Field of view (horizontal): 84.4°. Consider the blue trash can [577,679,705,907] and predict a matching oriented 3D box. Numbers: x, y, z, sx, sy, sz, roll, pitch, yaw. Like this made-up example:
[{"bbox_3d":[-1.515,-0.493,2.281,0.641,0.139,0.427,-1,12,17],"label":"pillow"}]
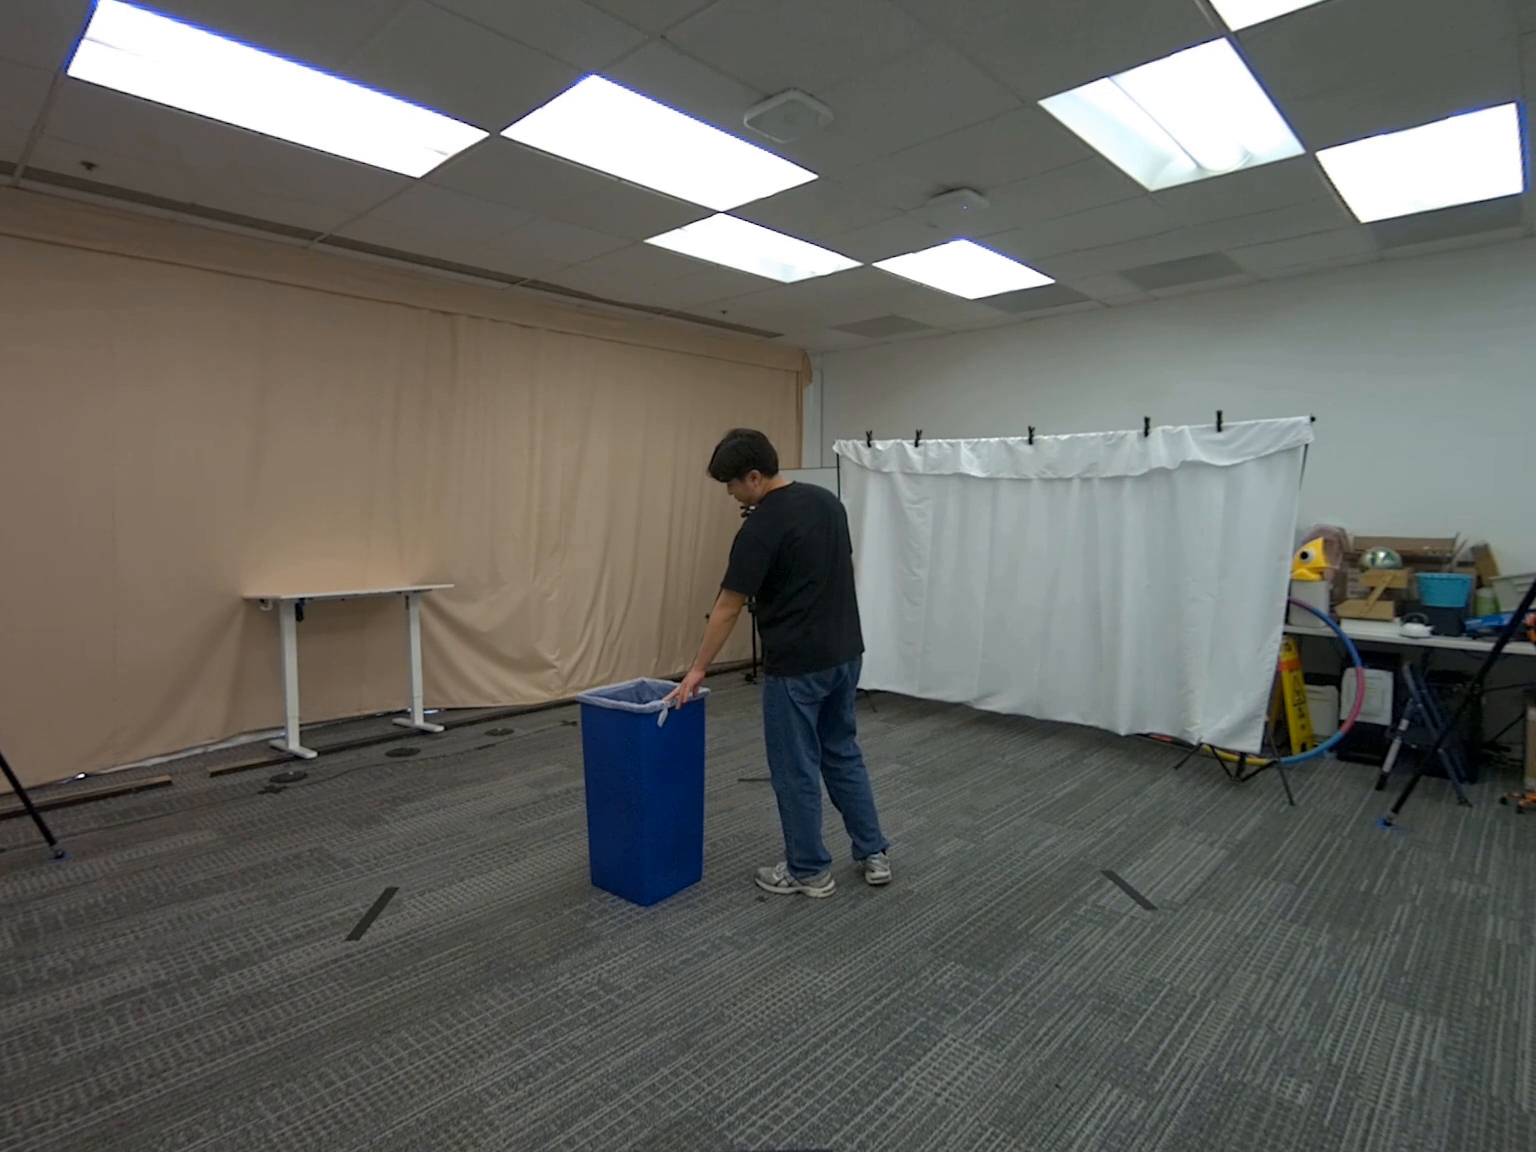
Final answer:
[{"bbox_3d":[-0.462,0.783,3.118,0.386,0.712,0.366,2,3,38],"label":"blue trash can"}]
